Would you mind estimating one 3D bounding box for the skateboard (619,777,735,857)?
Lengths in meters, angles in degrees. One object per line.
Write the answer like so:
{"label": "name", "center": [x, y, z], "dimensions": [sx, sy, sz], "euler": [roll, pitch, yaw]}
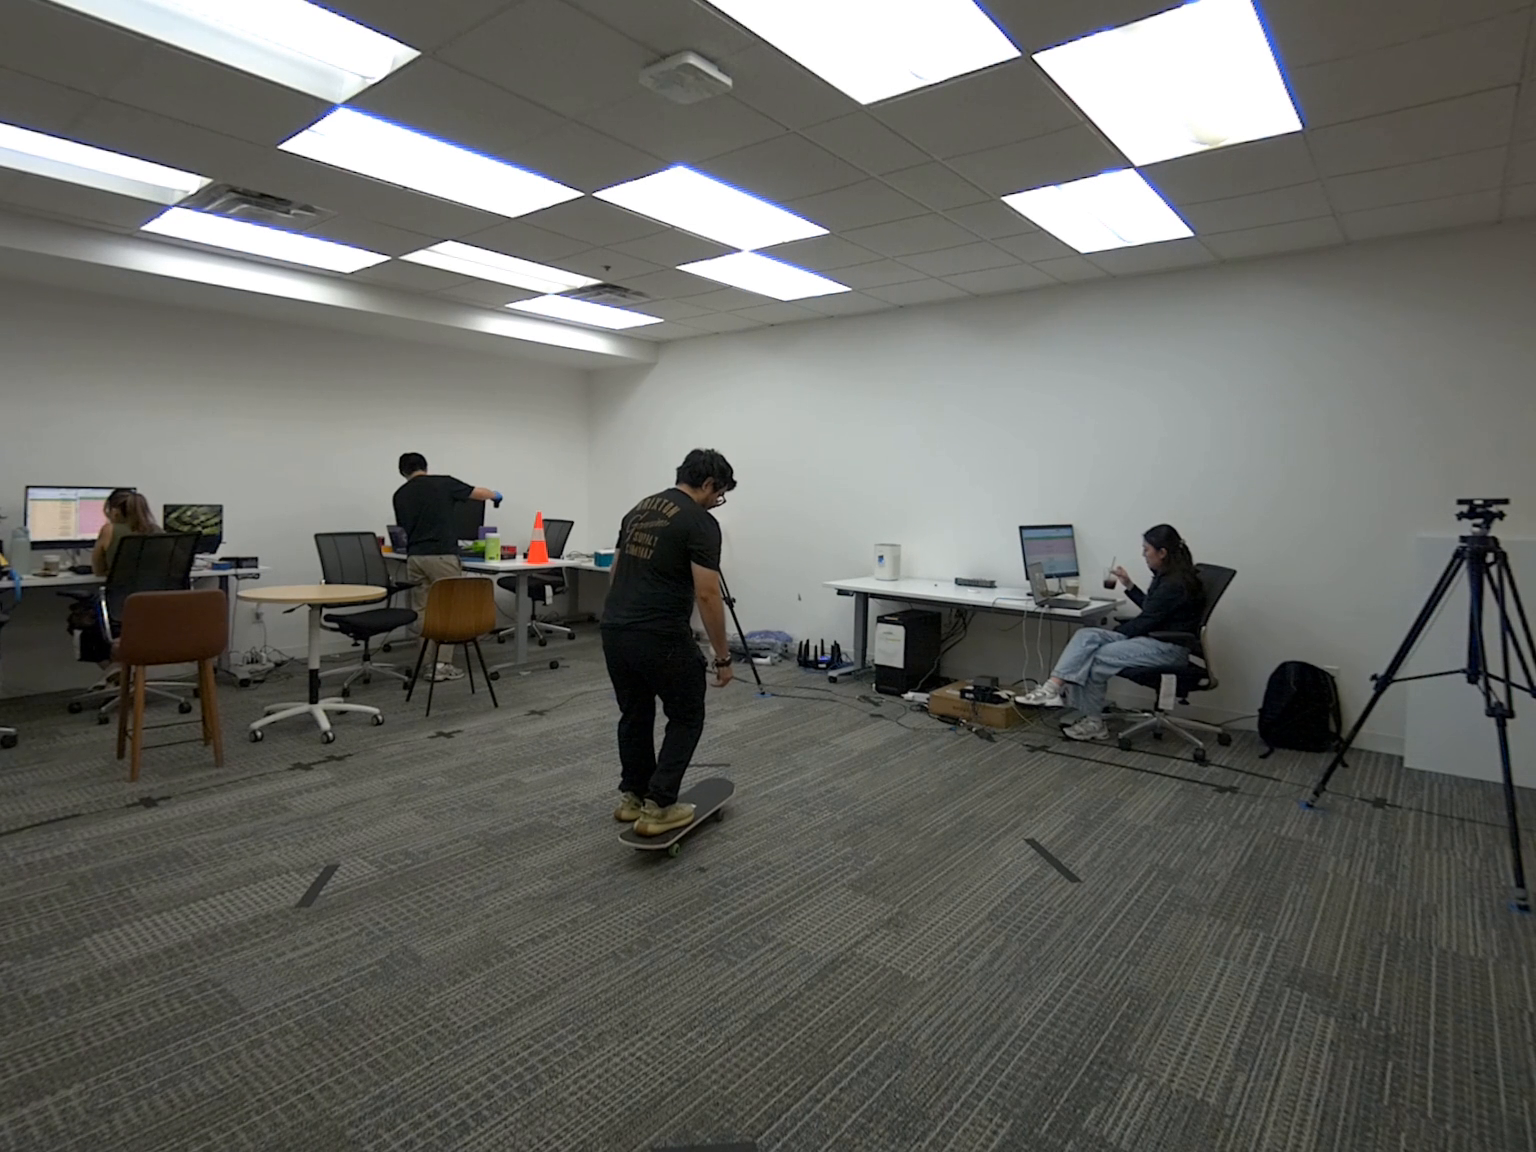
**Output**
{"label": "skateboard", "center": [-0.358, 0.982, 3.431], "dimensions": [0.198, 0.110, 0.769], "euler": [4, 7, 22]}
